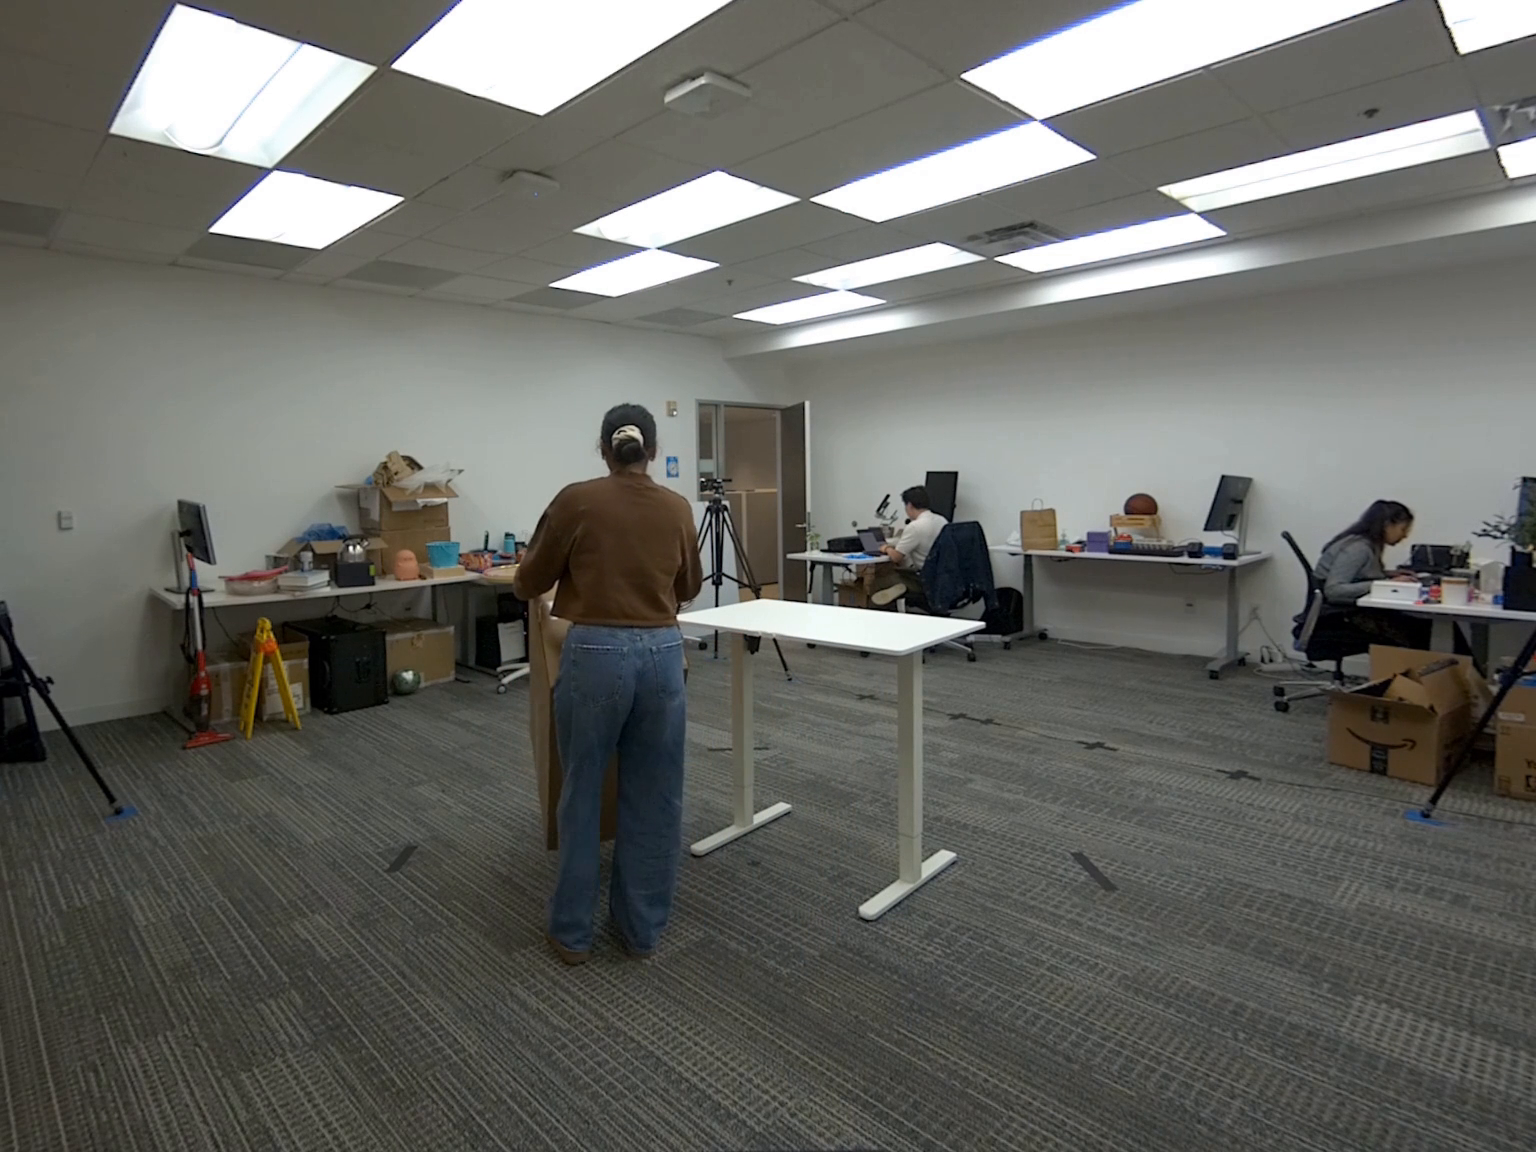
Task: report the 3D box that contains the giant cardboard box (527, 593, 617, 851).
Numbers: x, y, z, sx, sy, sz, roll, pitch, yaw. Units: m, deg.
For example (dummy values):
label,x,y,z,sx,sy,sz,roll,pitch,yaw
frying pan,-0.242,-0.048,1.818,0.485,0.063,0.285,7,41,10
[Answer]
label,x,y,z,sx,sy,sz,roll,pitch,yaw
giant cardboard box,-0.609,0.447,3.052,0.420,1.005,0.598,-5,46,-19
